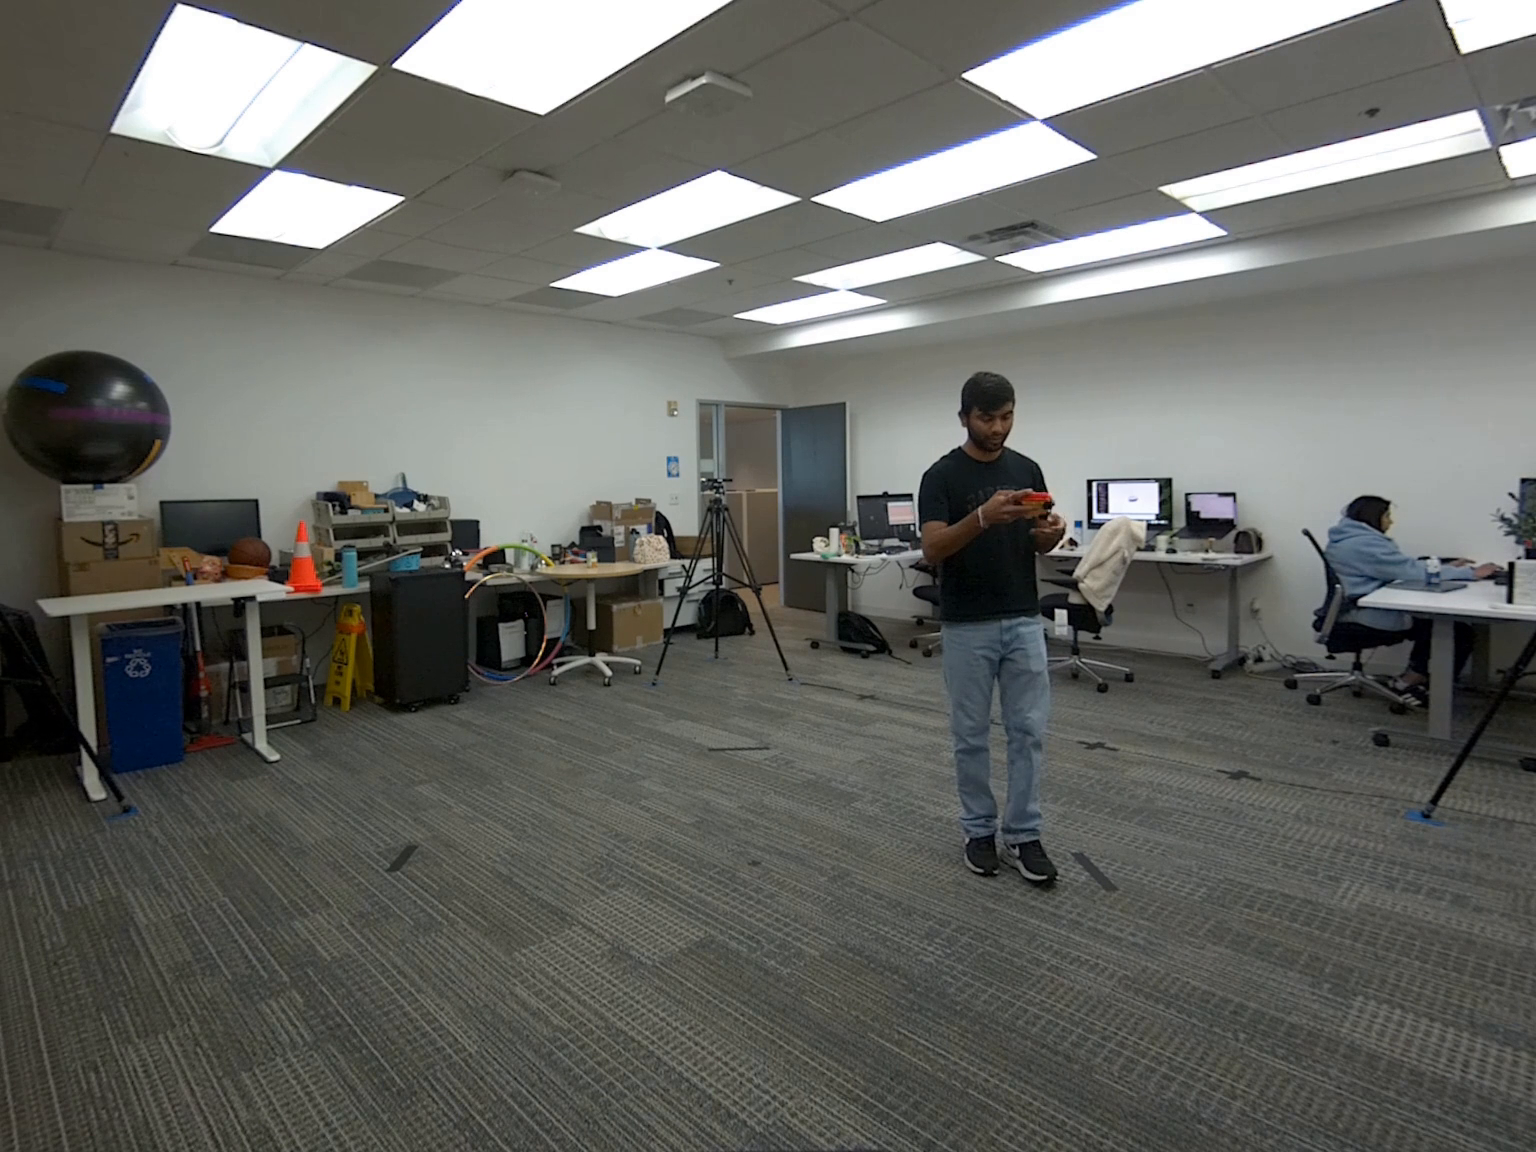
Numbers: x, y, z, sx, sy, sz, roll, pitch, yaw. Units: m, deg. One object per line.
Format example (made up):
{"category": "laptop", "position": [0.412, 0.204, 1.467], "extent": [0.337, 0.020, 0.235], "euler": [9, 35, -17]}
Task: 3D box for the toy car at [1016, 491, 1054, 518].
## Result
{"category": "toy car", "position": [0.825, -0.221, 2.714], "extent": [0.132, 0.083, 0.251], "euler": [-1, 2, 14]}
